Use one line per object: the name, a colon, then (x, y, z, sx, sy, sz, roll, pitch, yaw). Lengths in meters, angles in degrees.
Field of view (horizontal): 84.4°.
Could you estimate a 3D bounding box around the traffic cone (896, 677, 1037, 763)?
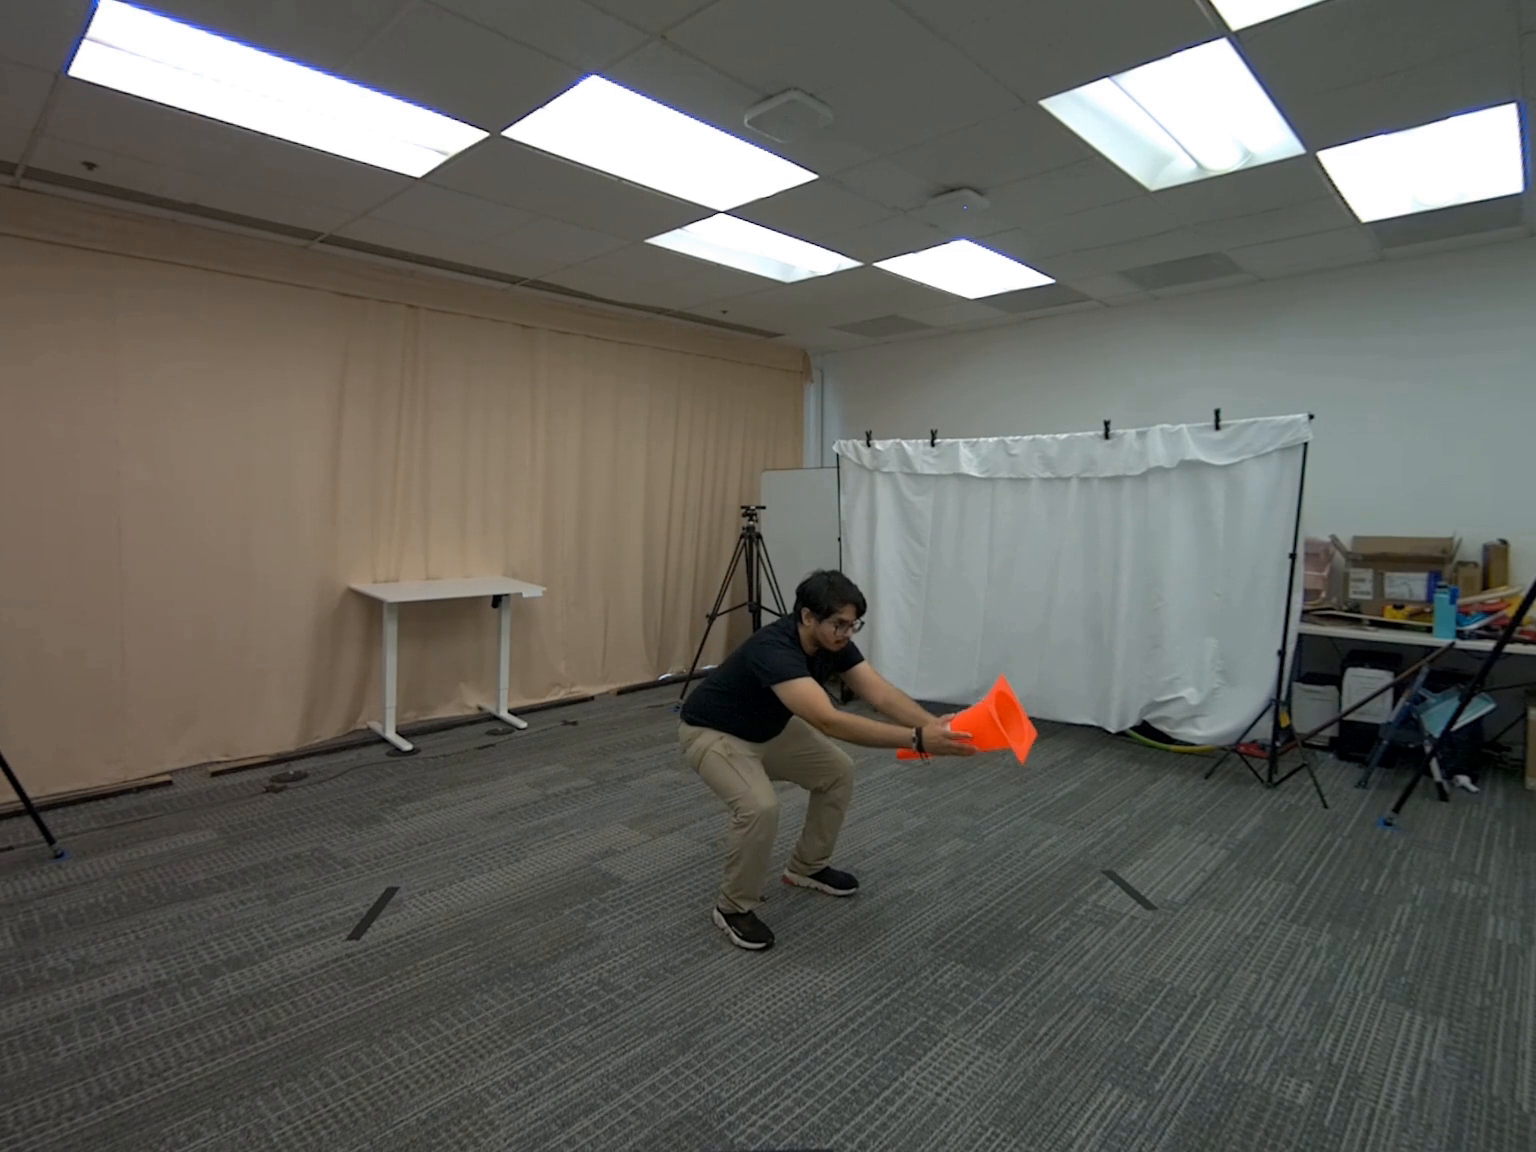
traffic cone: (0.546, 0.464, 2.450, 0.391, 0.203, 0.201, -26, 3, 35)
